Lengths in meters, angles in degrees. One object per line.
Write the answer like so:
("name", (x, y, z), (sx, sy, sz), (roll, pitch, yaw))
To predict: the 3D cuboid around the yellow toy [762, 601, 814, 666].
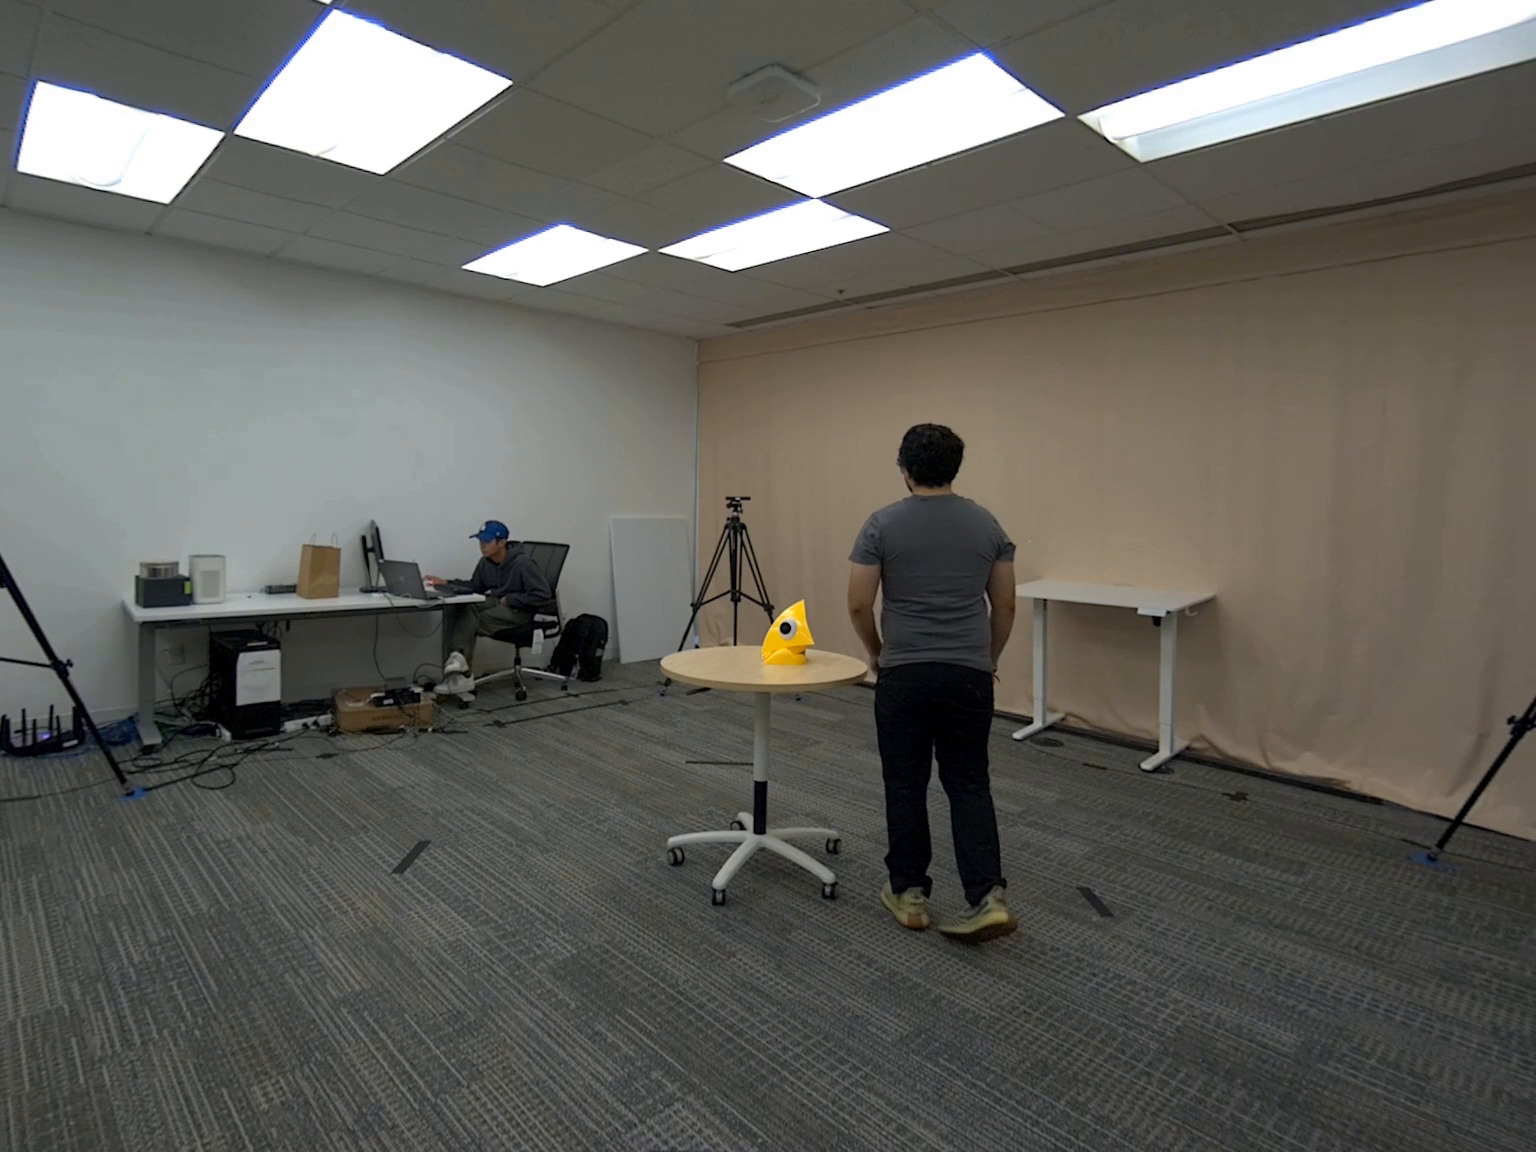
("yellow toy", (0.066, 0.207, 3.189), (0.193, 0.230, 0.206), (1, 4, -3))
